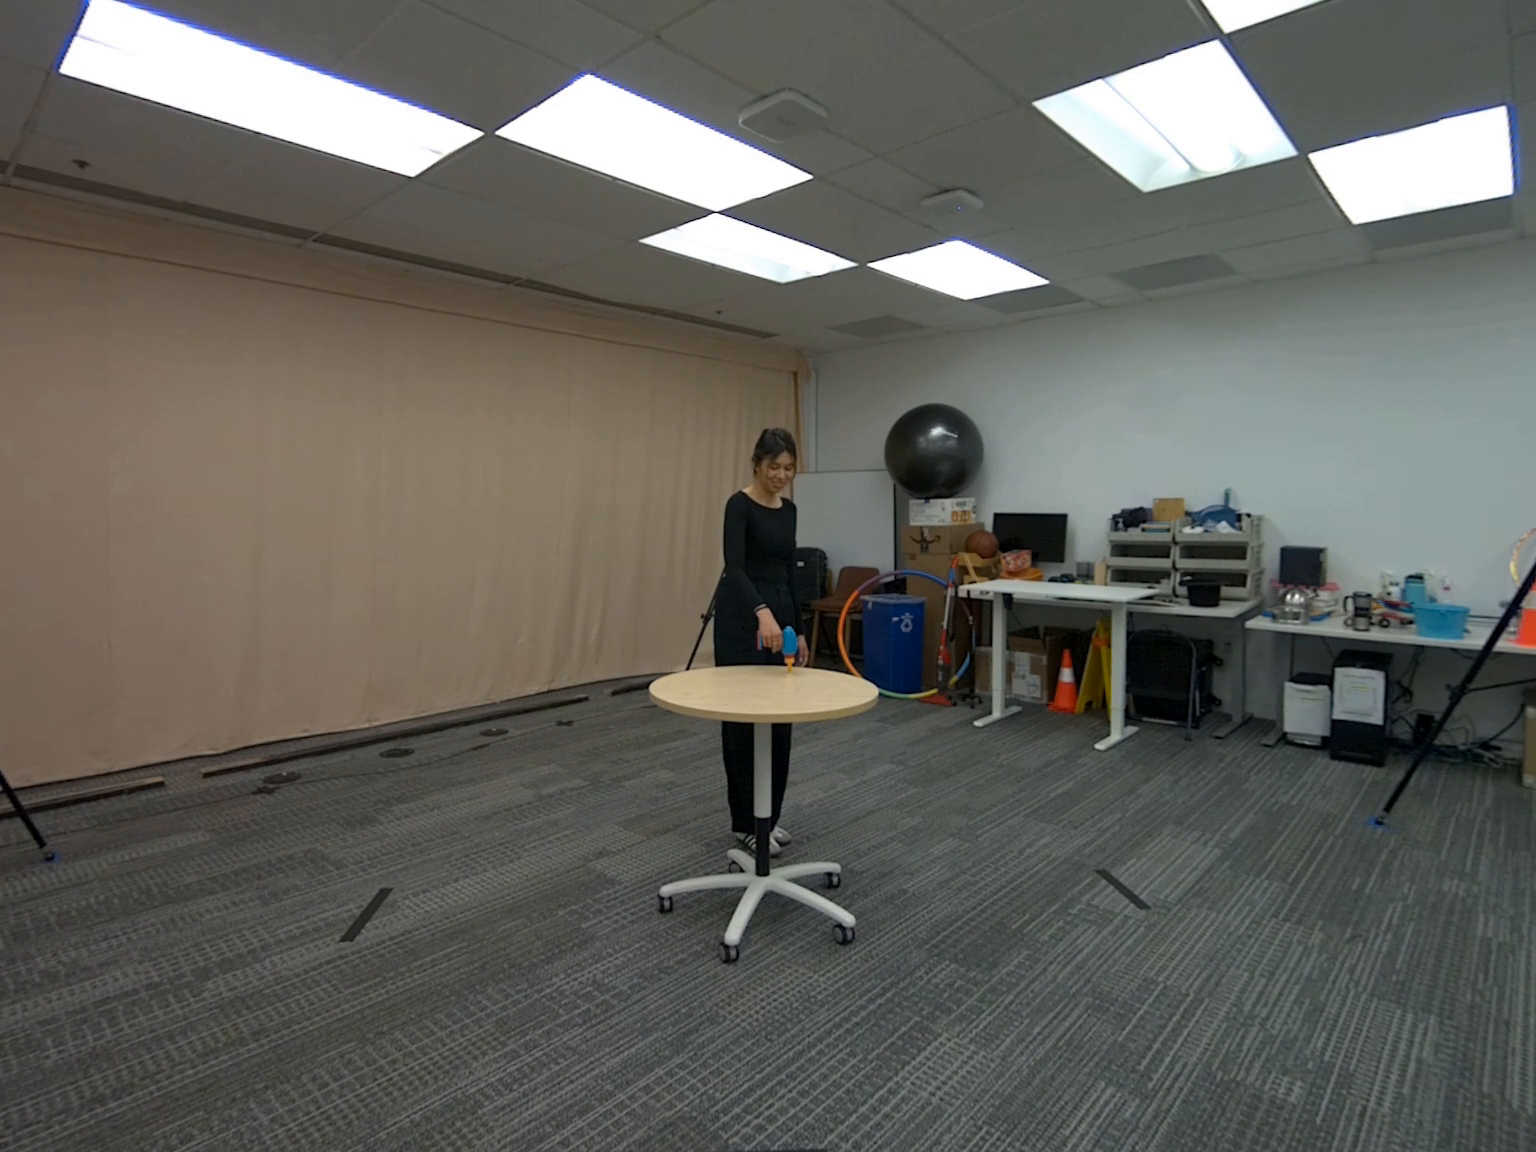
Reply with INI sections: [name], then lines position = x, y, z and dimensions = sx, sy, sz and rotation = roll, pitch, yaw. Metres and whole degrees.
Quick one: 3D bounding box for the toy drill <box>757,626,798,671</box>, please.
[toy drill]
position = 0.043, 0.270, 3.078
dimensions = 0.148, 0.169, 0.060
rotation = 0, 4, 13
